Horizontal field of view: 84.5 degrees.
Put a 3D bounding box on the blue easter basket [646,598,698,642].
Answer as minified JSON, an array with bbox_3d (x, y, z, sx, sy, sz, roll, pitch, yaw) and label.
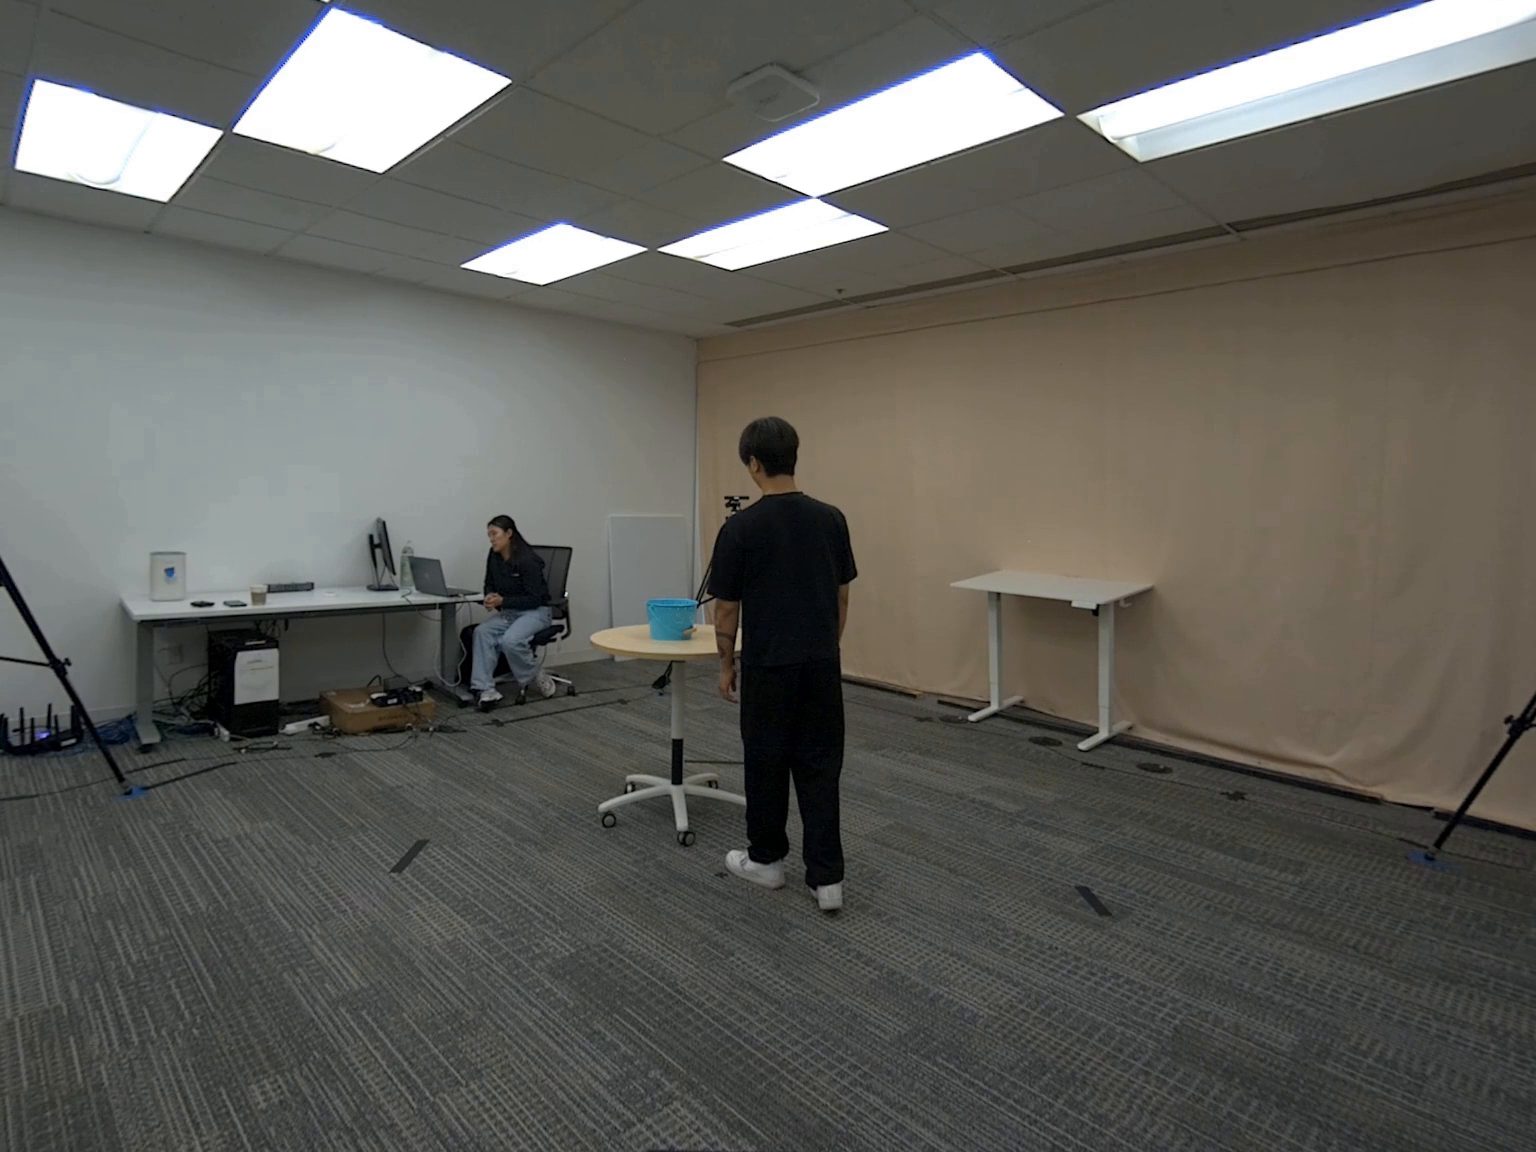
[{"bbox_3d":[-0.433,0.191,3.645,0.243,0.155,0.244,1,4,-1],"label":"blue easter basket"}]
